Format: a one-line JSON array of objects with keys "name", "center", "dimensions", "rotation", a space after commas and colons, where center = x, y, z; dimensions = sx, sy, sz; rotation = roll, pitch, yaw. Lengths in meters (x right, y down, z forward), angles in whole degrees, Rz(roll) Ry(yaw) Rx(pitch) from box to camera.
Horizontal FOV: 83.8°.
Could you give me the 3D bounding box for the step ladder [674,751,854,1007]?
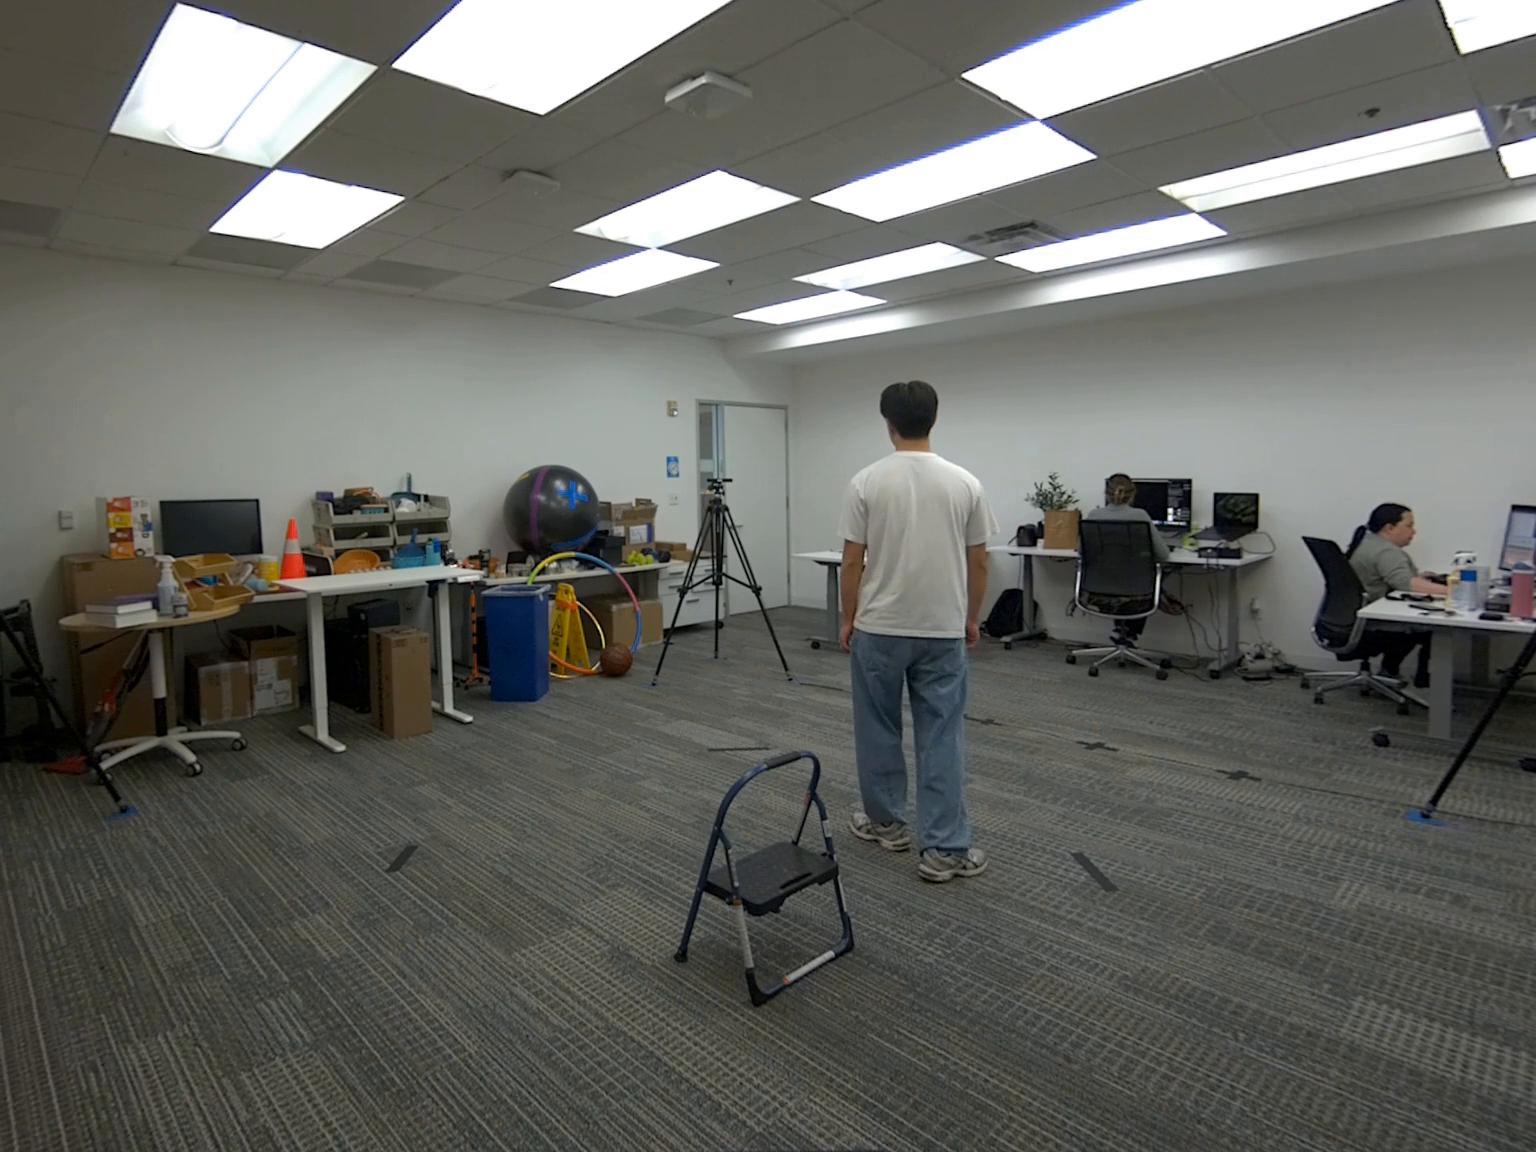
[{"name": "step ladder", "center": [-0.009, 0.810, 2.502], "dimensions": [0.360, 0.604, 0.419], "rotation": [3, 6, 45]}]
